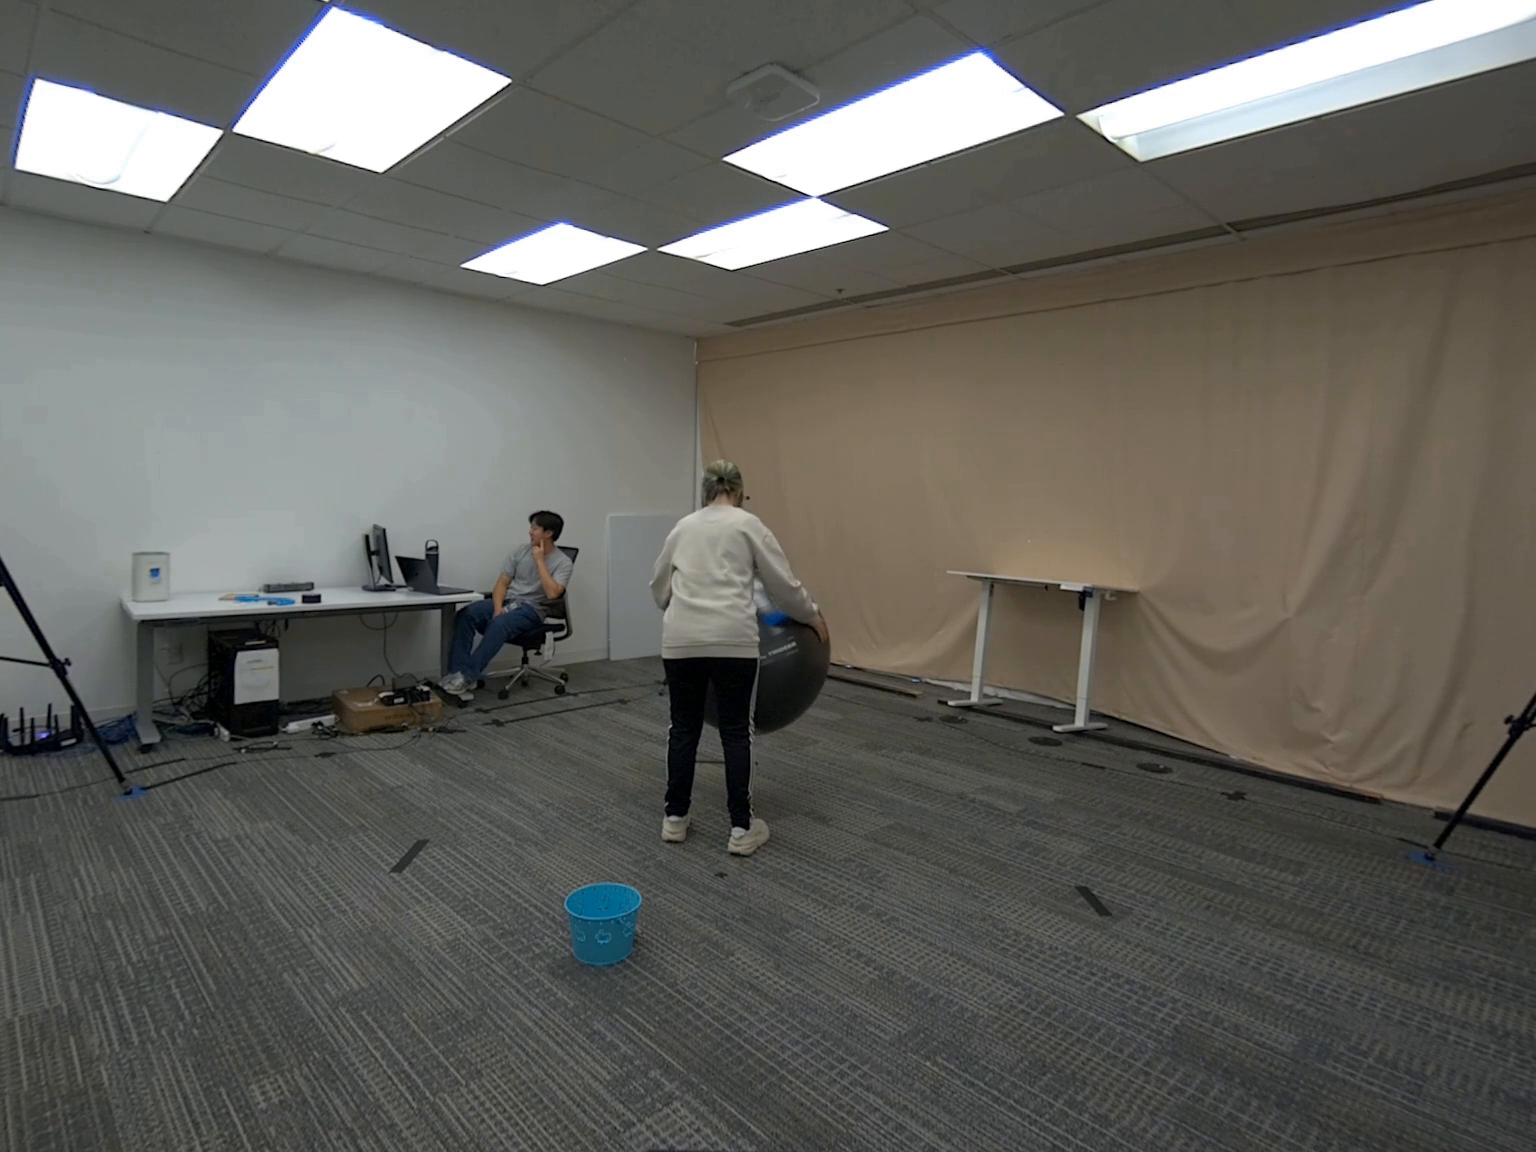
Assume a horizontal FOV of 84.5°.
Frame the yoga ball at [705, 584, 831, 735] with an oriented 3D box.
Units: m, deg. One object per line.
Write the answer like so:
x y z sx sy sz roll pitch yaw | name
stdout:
-0.098 0.353 3.876 0.757 0.756 0.761 1 4 -1 | yoga ball
